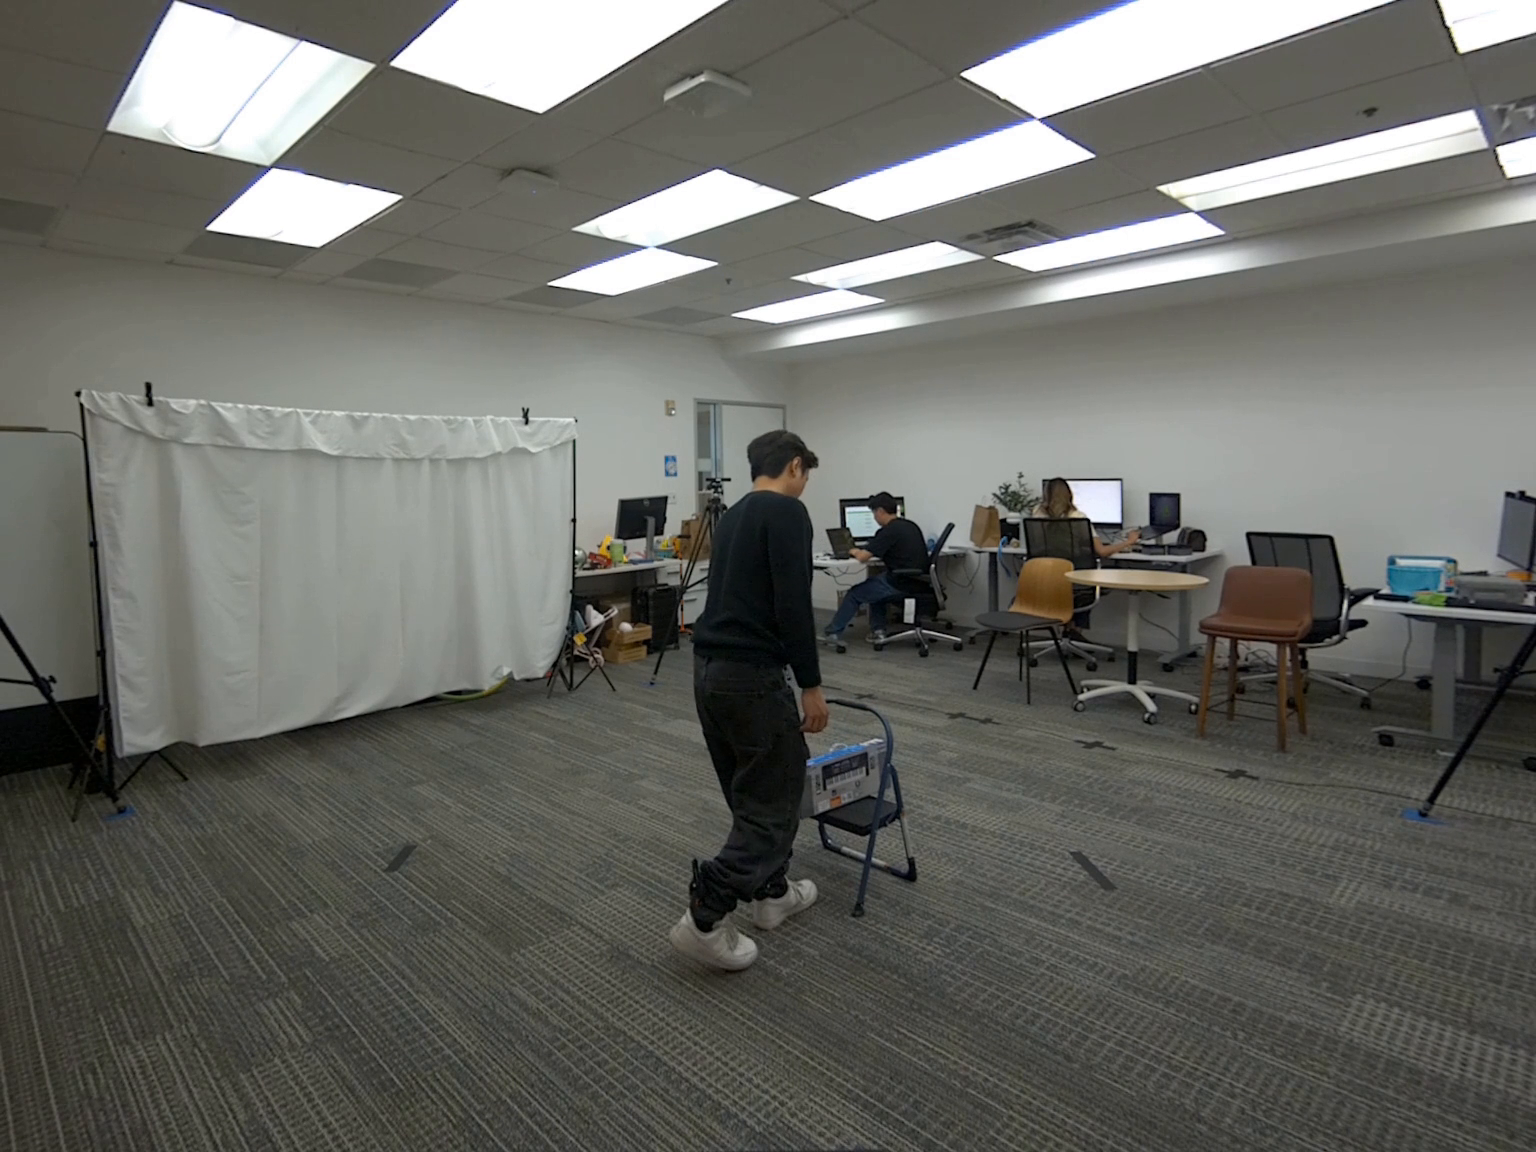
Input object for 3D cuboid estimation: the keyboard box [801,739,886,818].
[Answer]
[{"bbox_3d":[0.253,0.701,2.980,0.426,0.175,0.061,-8,3,-39],"label":"keyboard box"}]
